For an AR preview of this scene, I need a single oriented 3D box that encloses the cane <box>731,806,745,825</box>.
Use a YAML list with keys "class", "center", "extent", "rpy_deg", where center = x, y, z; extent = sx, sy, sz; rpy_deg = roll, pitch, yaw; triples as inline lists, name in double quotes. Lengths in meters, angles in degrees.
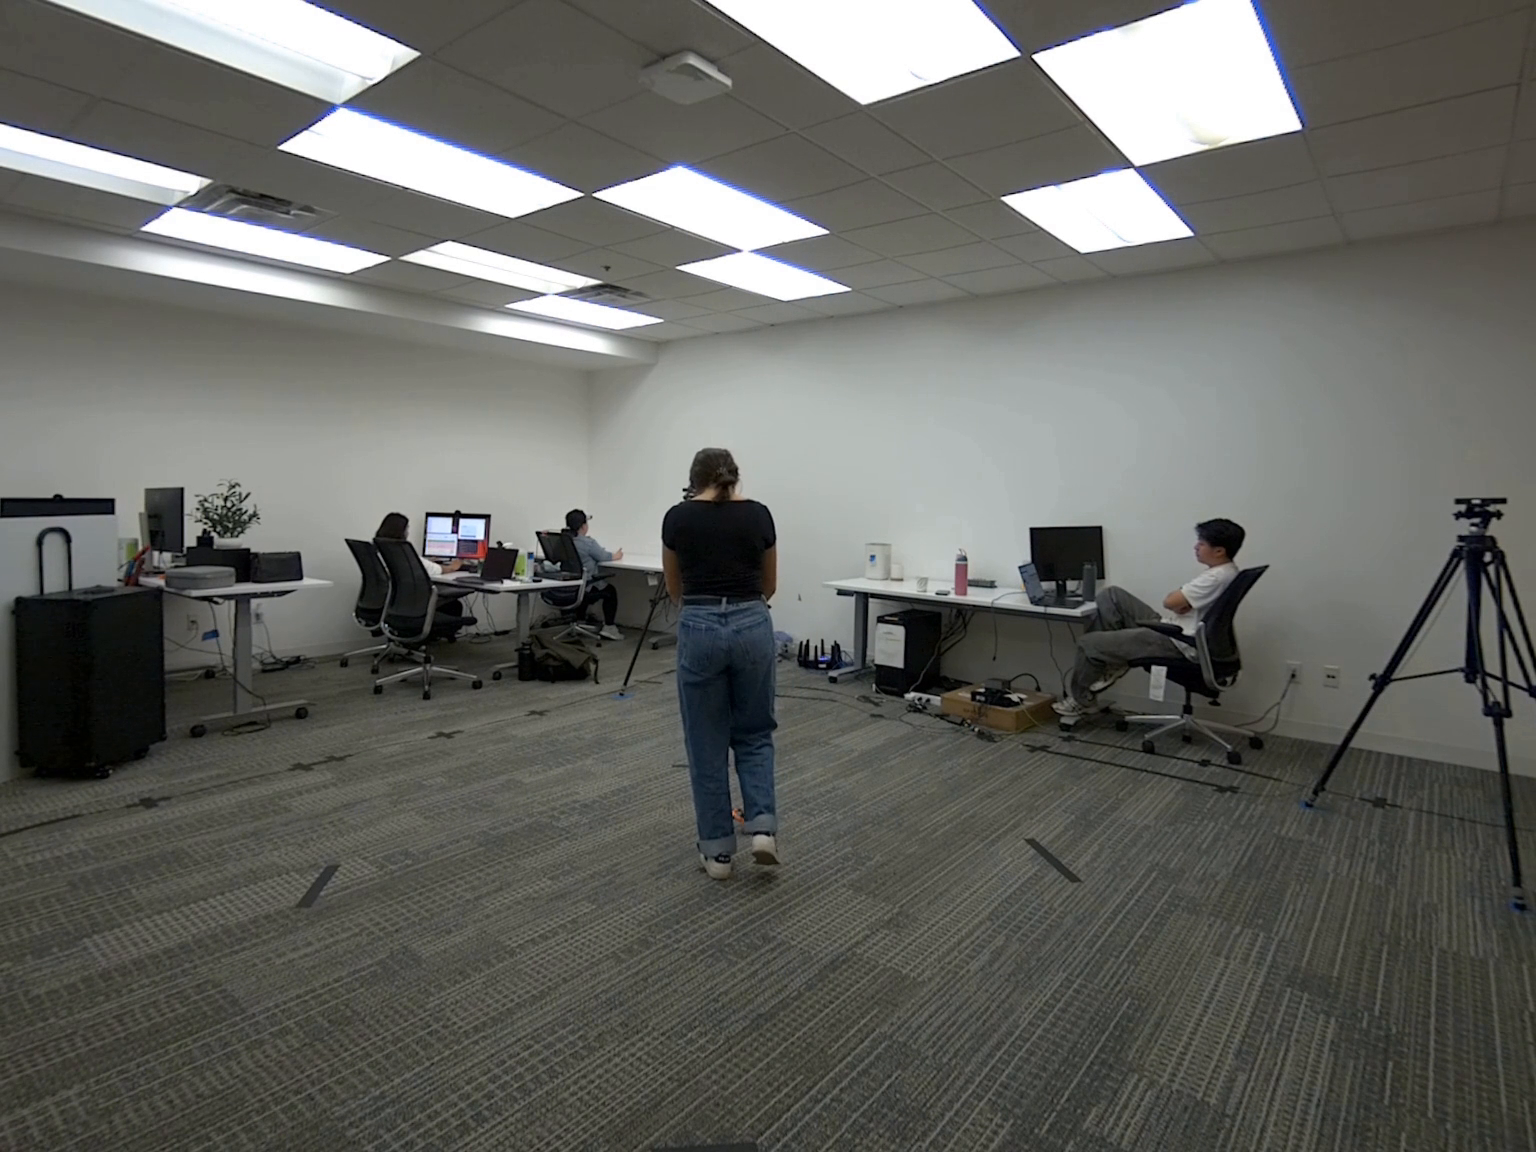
- class: "cane"
  center: [-0.170, 0.567, 3.490]
  extent: [0.205, 0.906, 0.152]
  rpy_deg: [1, 2, -5]
